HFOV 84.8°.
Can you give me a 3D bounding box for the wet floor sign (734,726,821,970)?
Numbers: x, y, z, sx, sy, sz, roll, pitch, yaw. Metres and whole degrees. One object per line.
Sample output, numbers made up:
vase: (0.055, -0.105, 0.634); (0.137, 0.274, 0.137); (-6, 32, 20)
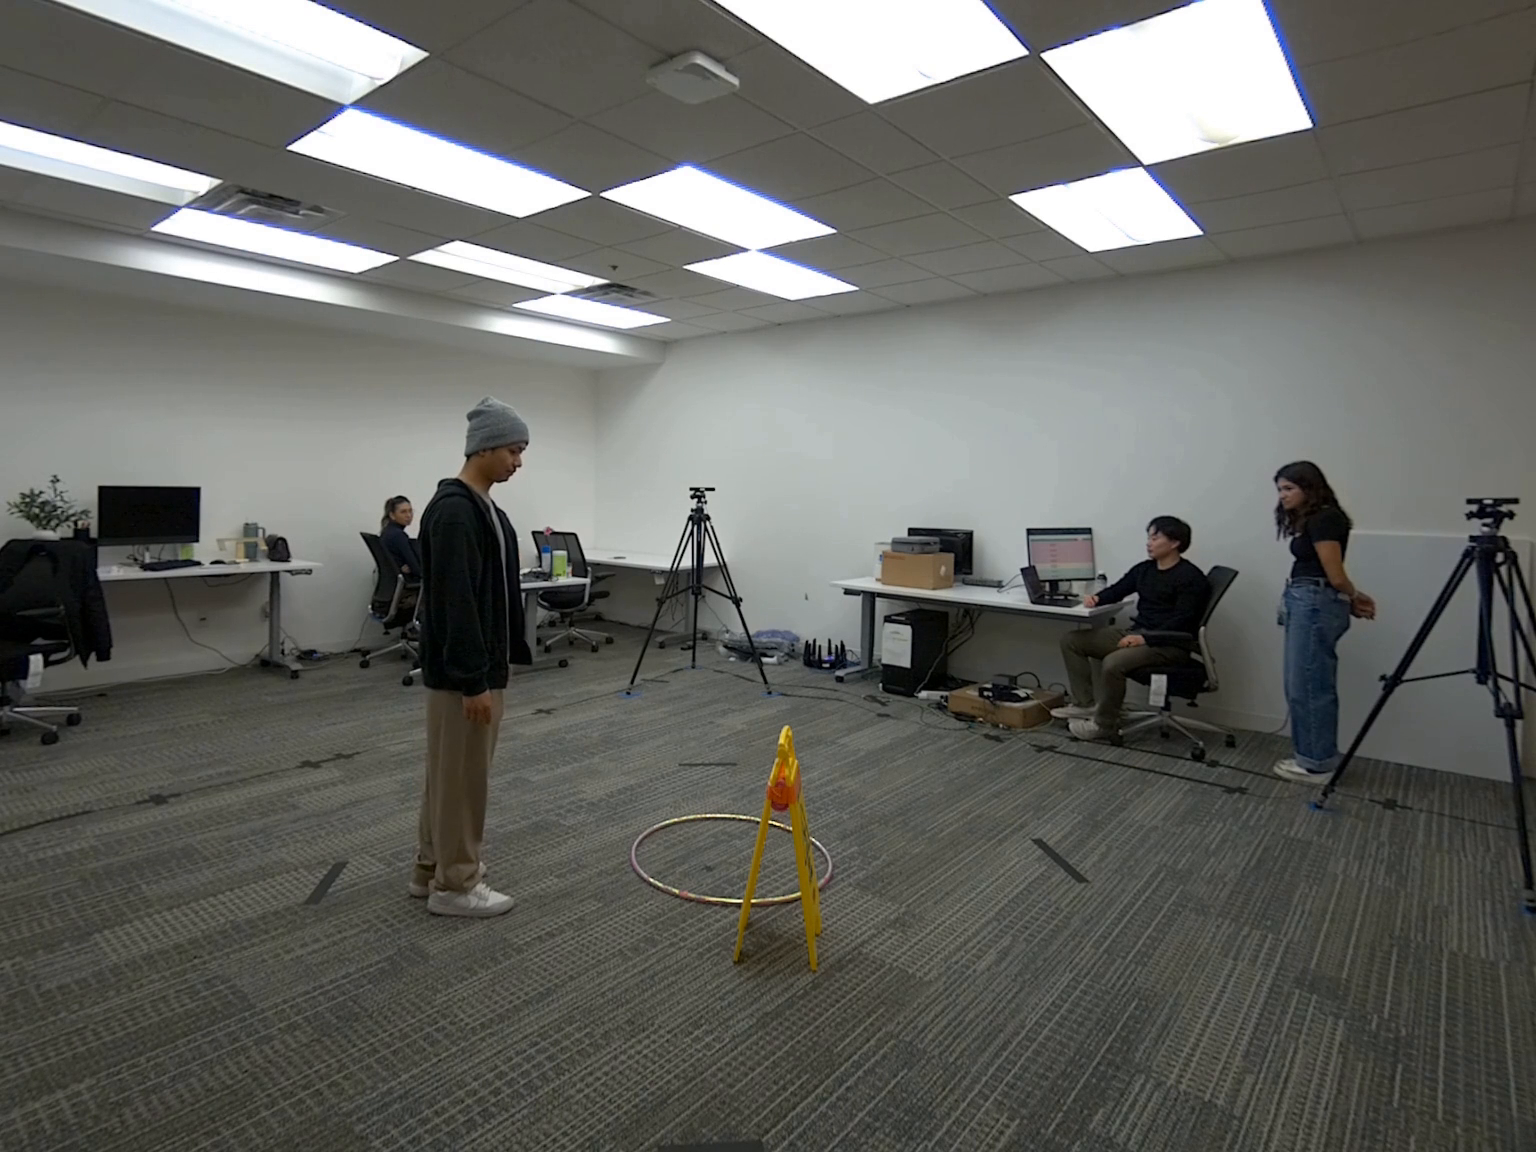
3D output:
wet floor sign: (0.035, 0.803, 2.587); (0.292, 0.644, 0.280); (3, 3, 7)
